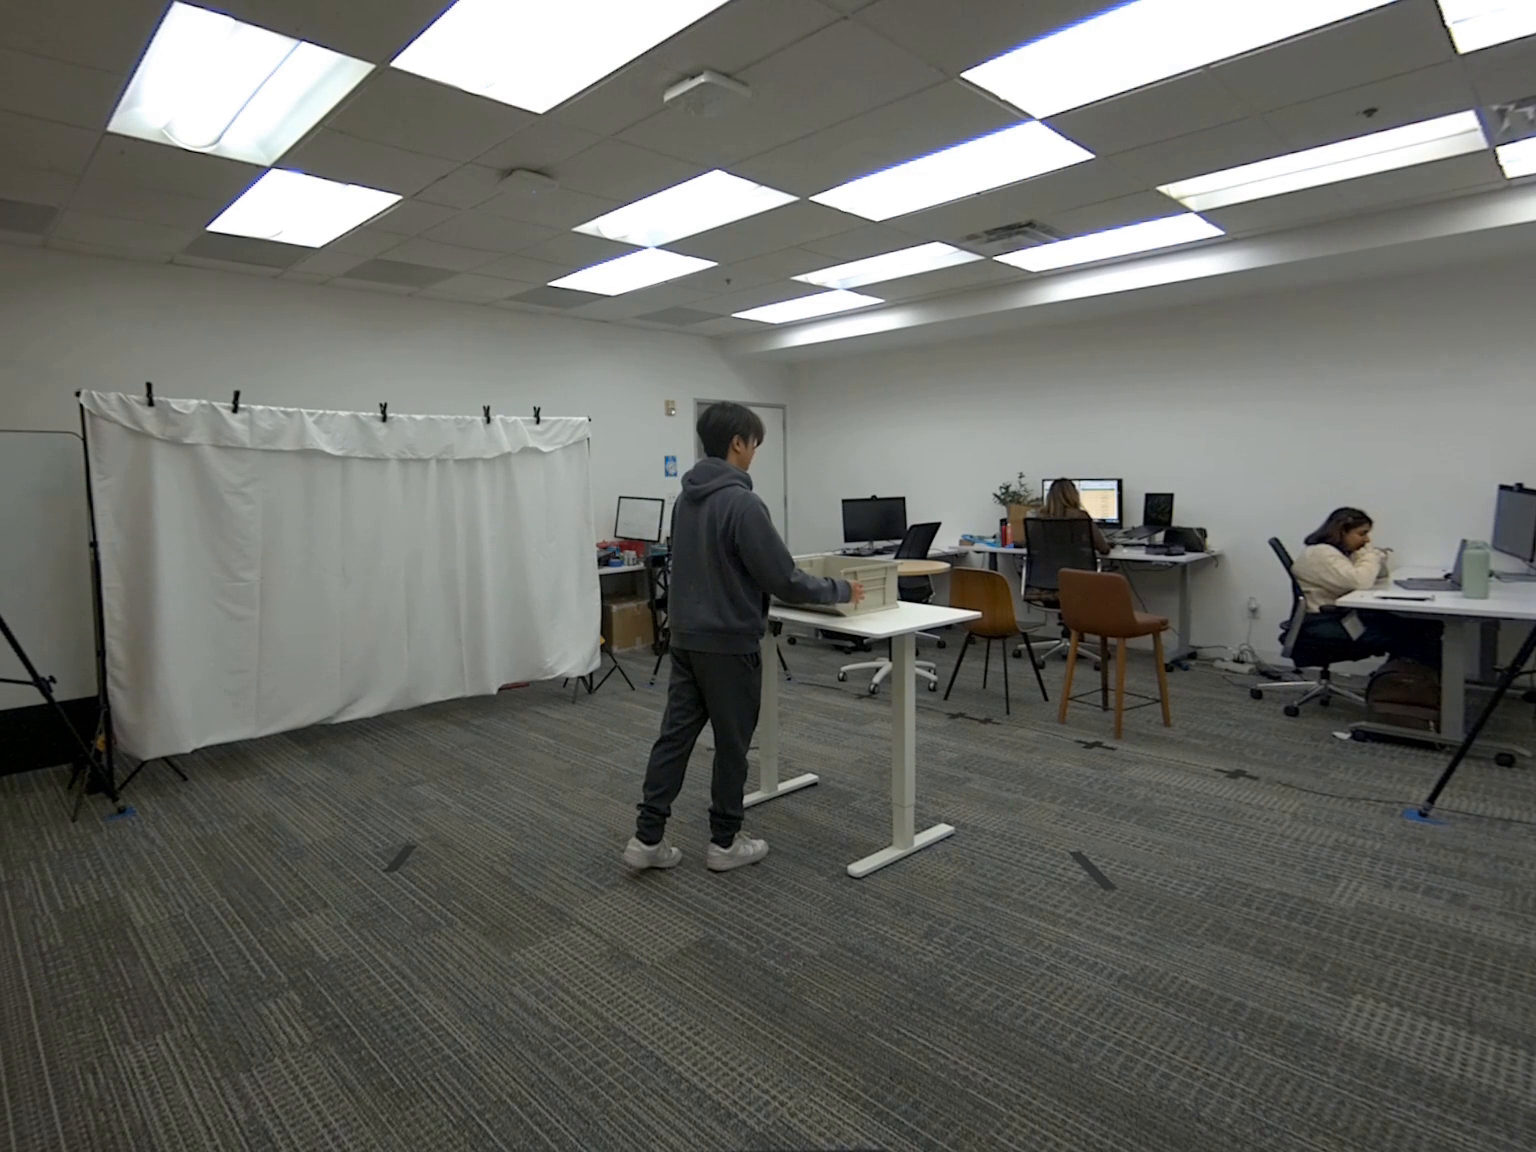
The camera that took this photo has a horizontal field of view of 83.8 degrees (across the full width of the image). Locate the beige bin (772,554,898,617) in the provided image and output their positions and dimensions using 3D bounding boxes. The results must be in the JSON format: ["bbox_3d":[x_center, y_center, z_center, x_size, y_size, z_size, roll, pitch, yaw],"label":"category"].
[{"bbox_3d":[0.255,0.036,3.383,0.367,0.188,0.435,-6,8,-41],"label":"beige bin"}]
